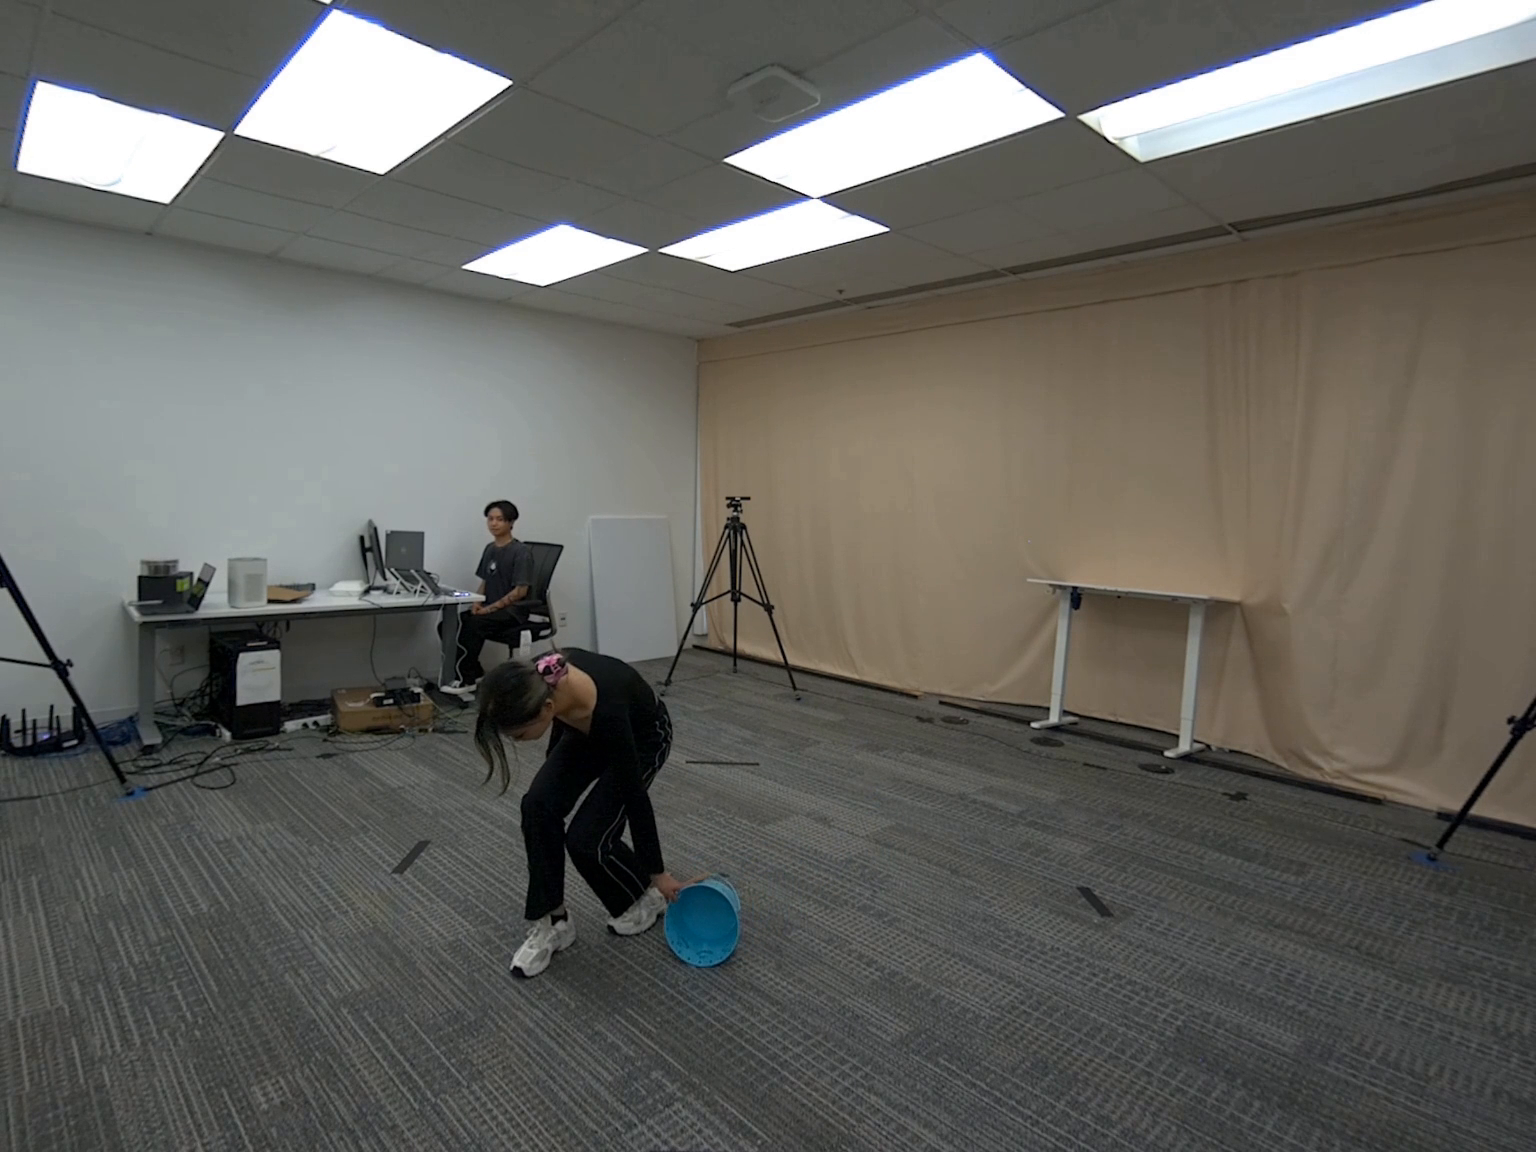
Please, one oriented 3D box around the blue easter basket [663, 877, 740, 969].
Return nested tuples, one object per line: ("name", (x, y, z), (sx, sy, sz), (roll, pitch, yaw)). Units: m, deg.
("blue easter basket", (-0.191, 1.048, 2.568), (0.246, 0.244, 0.154), (2, -5, 11))
